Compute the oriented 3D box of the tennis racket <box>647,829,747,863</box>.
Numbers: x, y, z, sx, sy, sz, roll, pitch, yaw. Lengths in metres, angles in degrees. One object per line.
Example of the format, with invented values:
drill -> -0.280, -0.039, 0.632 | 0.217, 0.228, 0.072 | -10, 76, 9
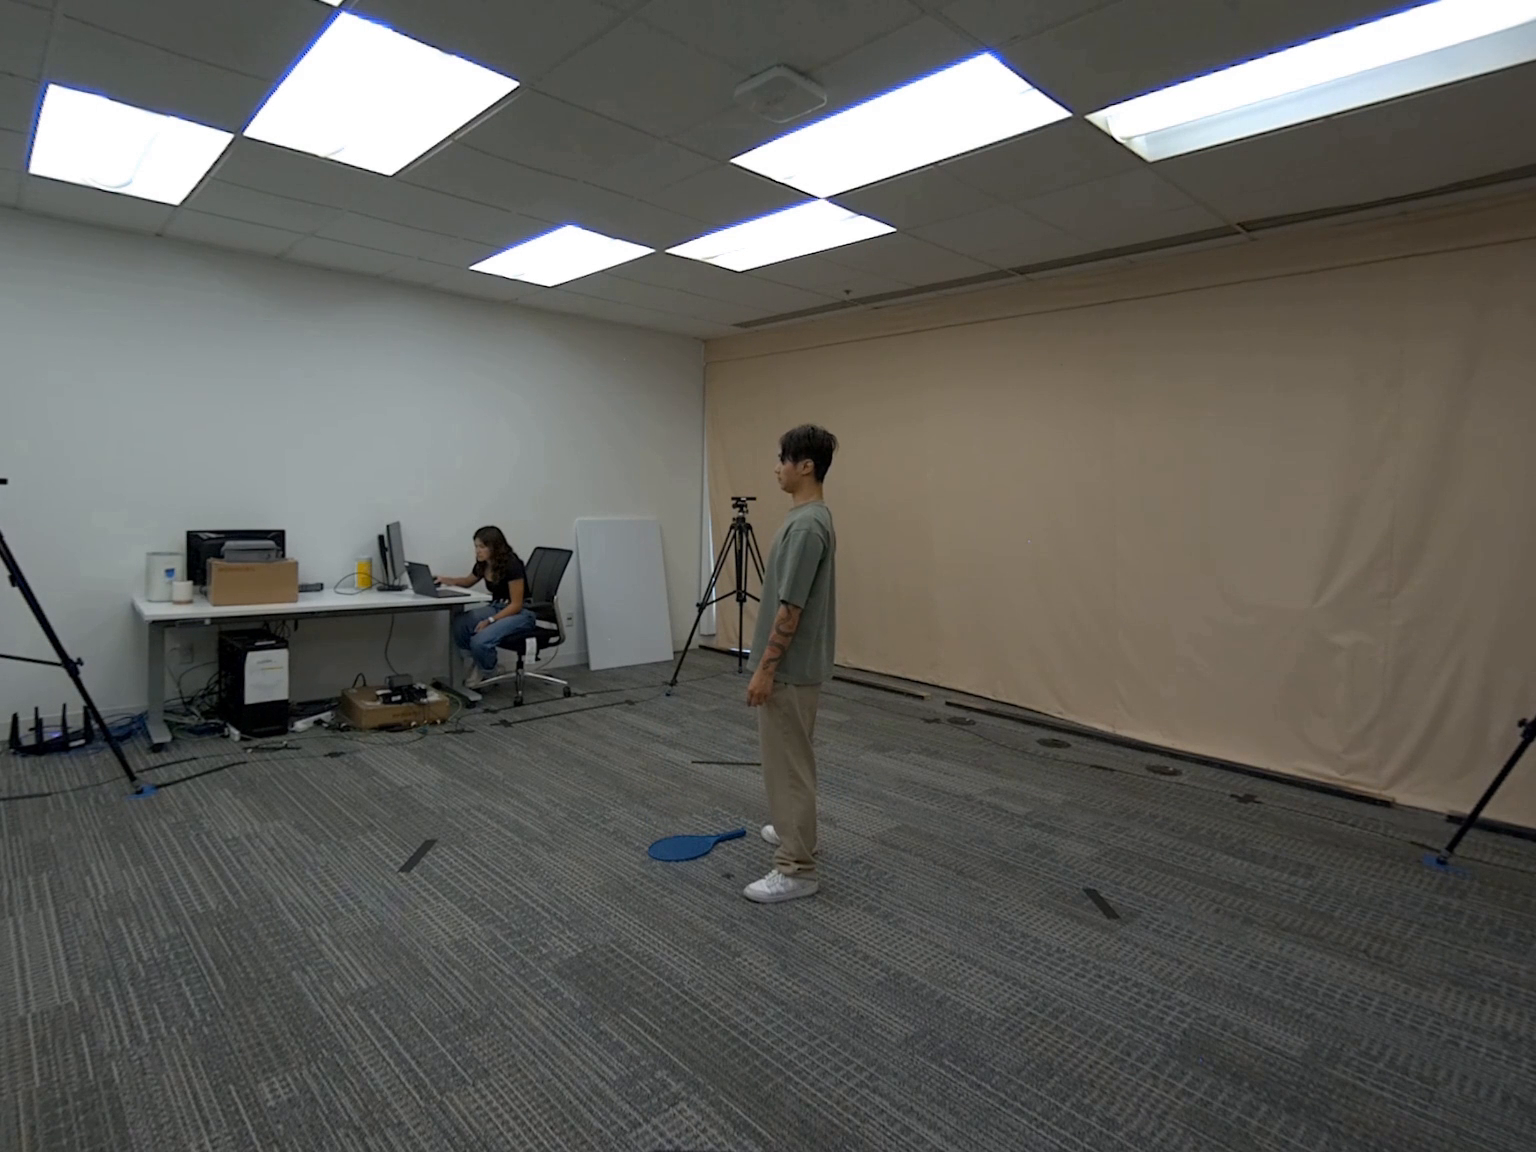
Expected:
tennis racket -> -0.279, 1.068, 3.360 | 0.424, 0.031, 0.219 | -3, 6, -31
